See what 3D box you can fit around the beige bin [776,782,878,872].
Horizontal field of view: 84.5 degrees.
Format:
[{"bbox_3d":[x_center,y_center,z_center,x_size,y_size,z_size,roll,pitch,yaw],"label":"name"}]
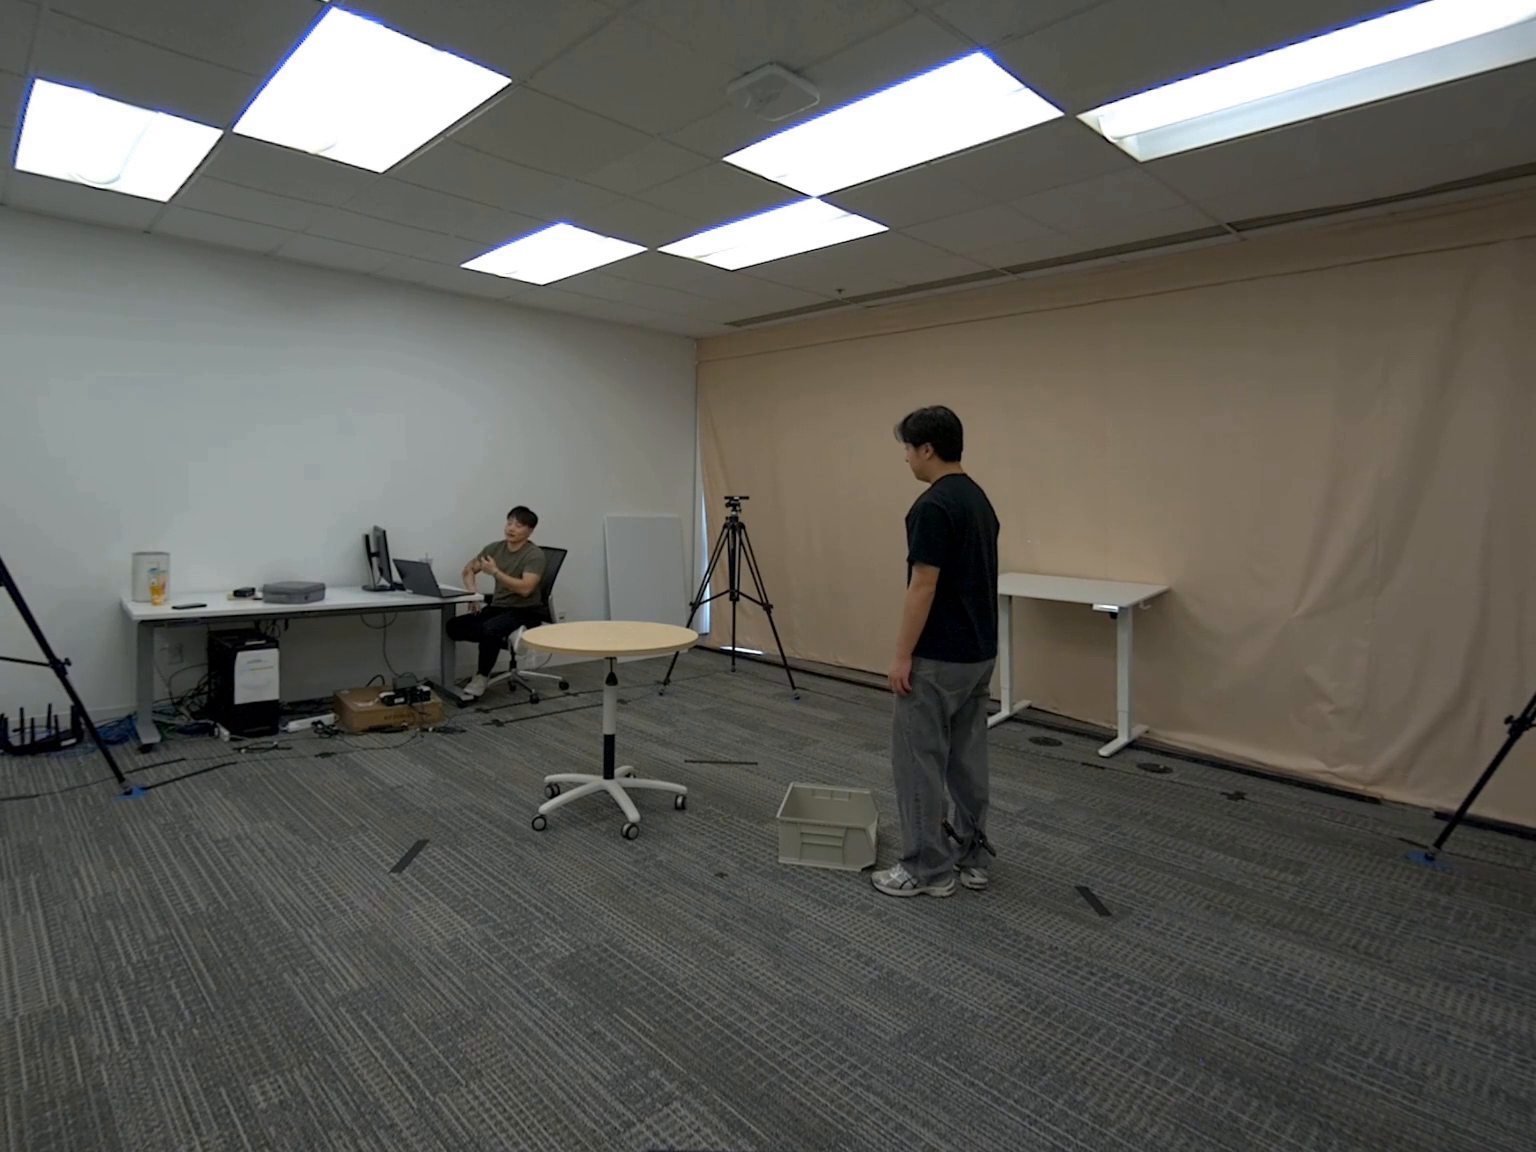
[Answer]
[{"bbox_3d":[0.243,1.000,3.379,0.381,0.188,0.420,1,5,10],"label":"beige bin"}]
